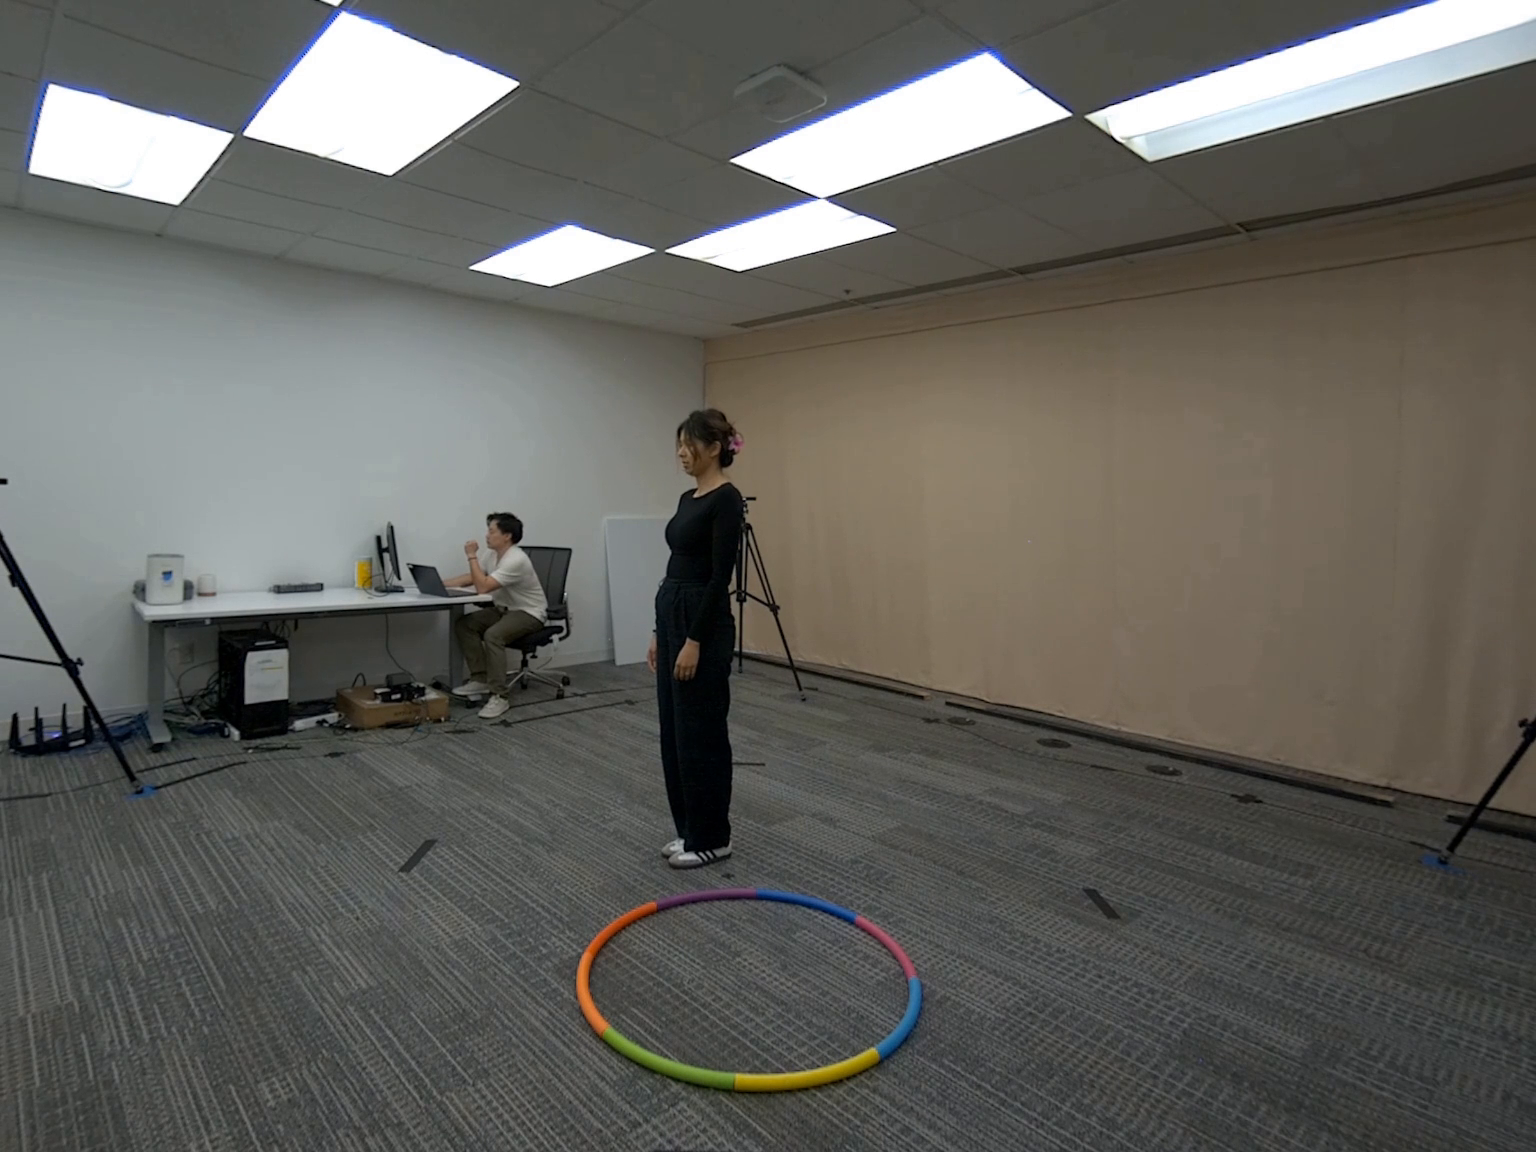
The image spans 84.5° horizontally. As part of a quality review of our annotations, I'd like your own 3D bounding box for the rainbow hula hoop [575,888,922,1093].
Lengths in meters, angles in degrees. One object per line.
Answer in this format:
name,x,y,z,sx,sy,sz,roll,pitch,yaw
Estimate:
rainbow hula hoop,-0.061,1.142,2.458,0.985,0.051,0.988,2,4,-1
